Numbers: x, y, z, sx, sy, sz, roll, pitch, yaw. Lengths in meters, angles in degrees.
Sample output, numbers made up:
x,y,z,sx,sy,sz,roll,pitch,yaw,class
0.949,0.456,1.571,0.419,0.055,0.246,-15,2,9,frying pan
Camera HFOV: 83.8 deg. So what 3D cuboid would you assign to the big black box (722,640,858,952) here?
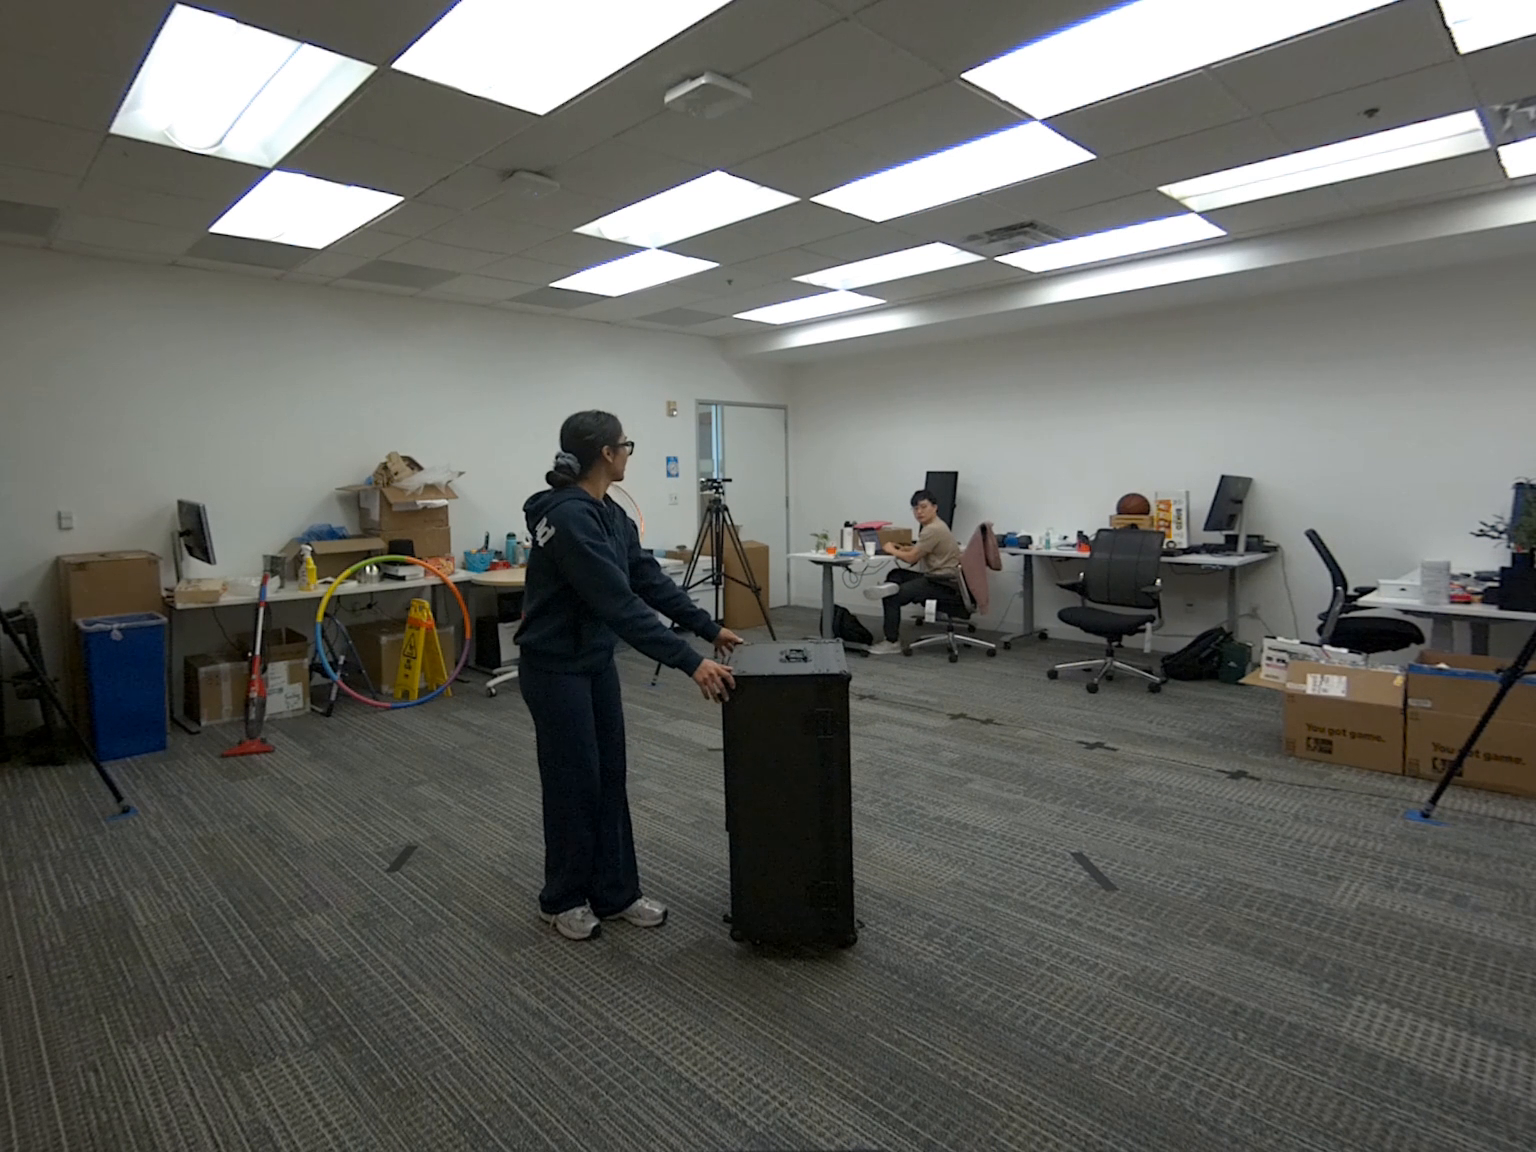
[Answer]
x,y,z,sx,sy,sz,roll,pitch,yaw,class
0.058,0.669,2.651,0.398,0.858,0.521,-3,5,4,big black box
